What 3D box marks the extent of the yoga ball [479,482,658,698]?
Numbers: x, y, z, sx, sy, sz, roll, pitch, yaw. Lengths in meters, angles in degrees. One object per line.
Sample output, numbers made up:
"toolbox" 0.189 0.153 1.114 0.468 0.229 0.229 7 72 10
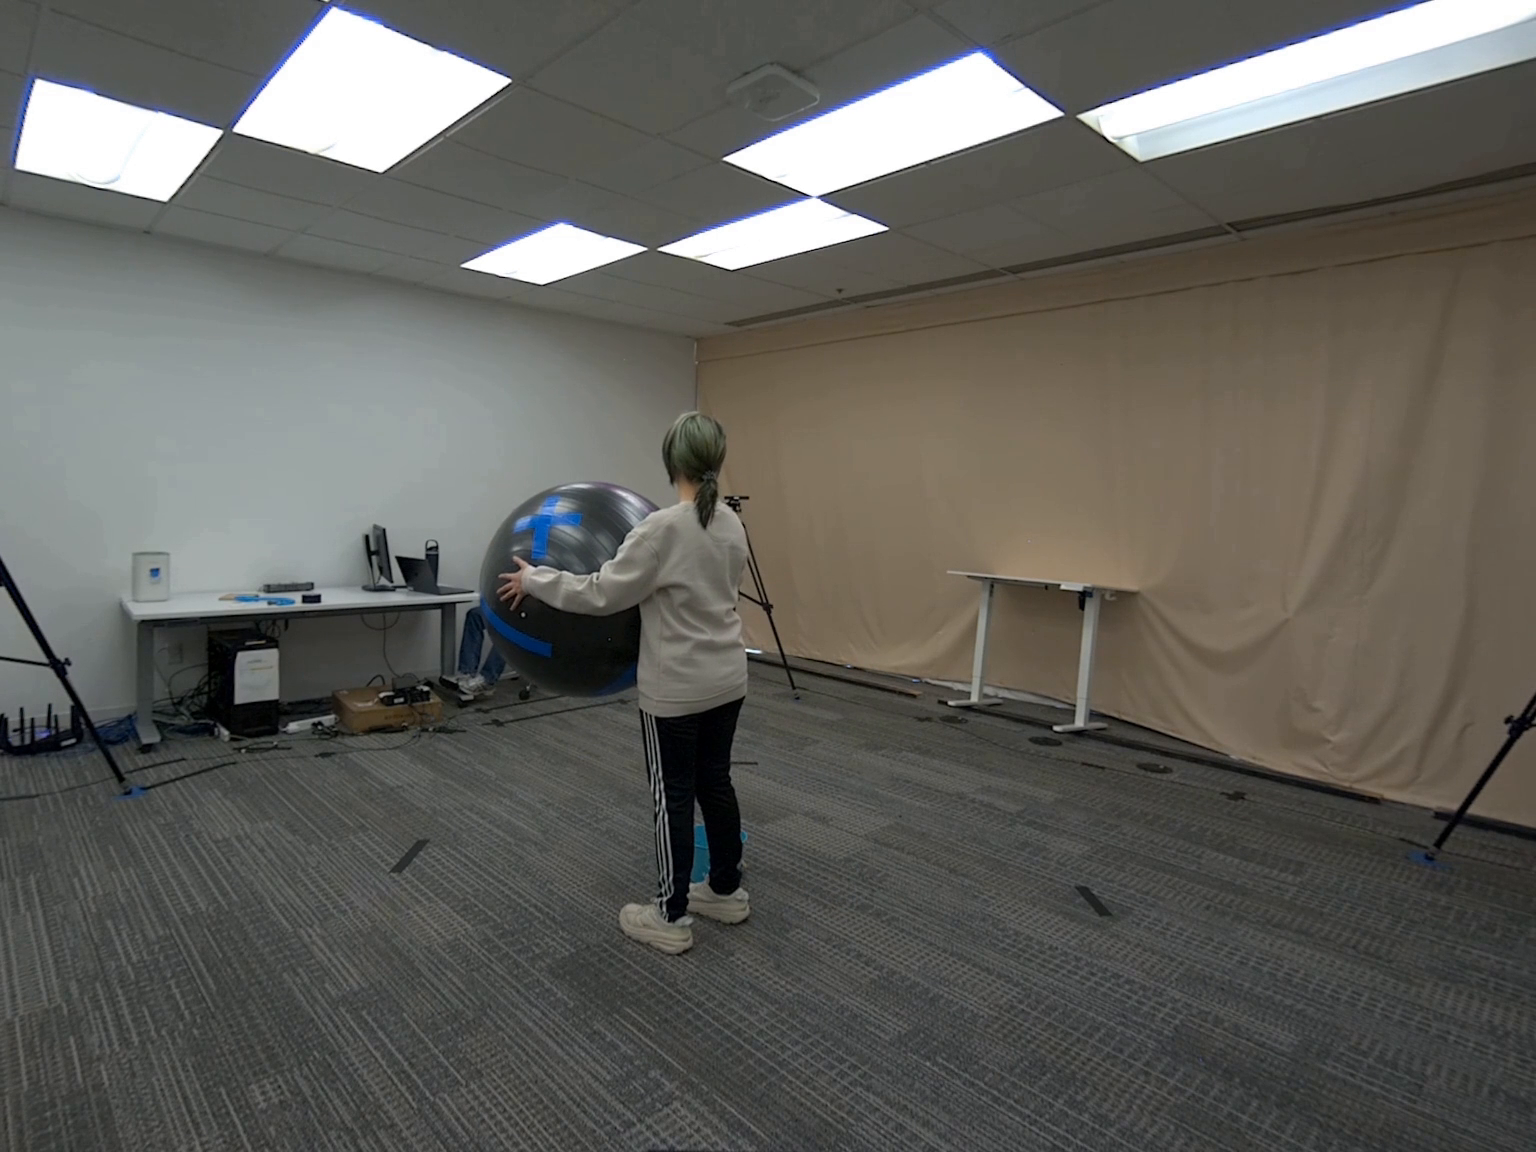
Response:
"yoga ball" -0.645 0.051 2.986 0.757 0.756 0.761 1 4 -1
